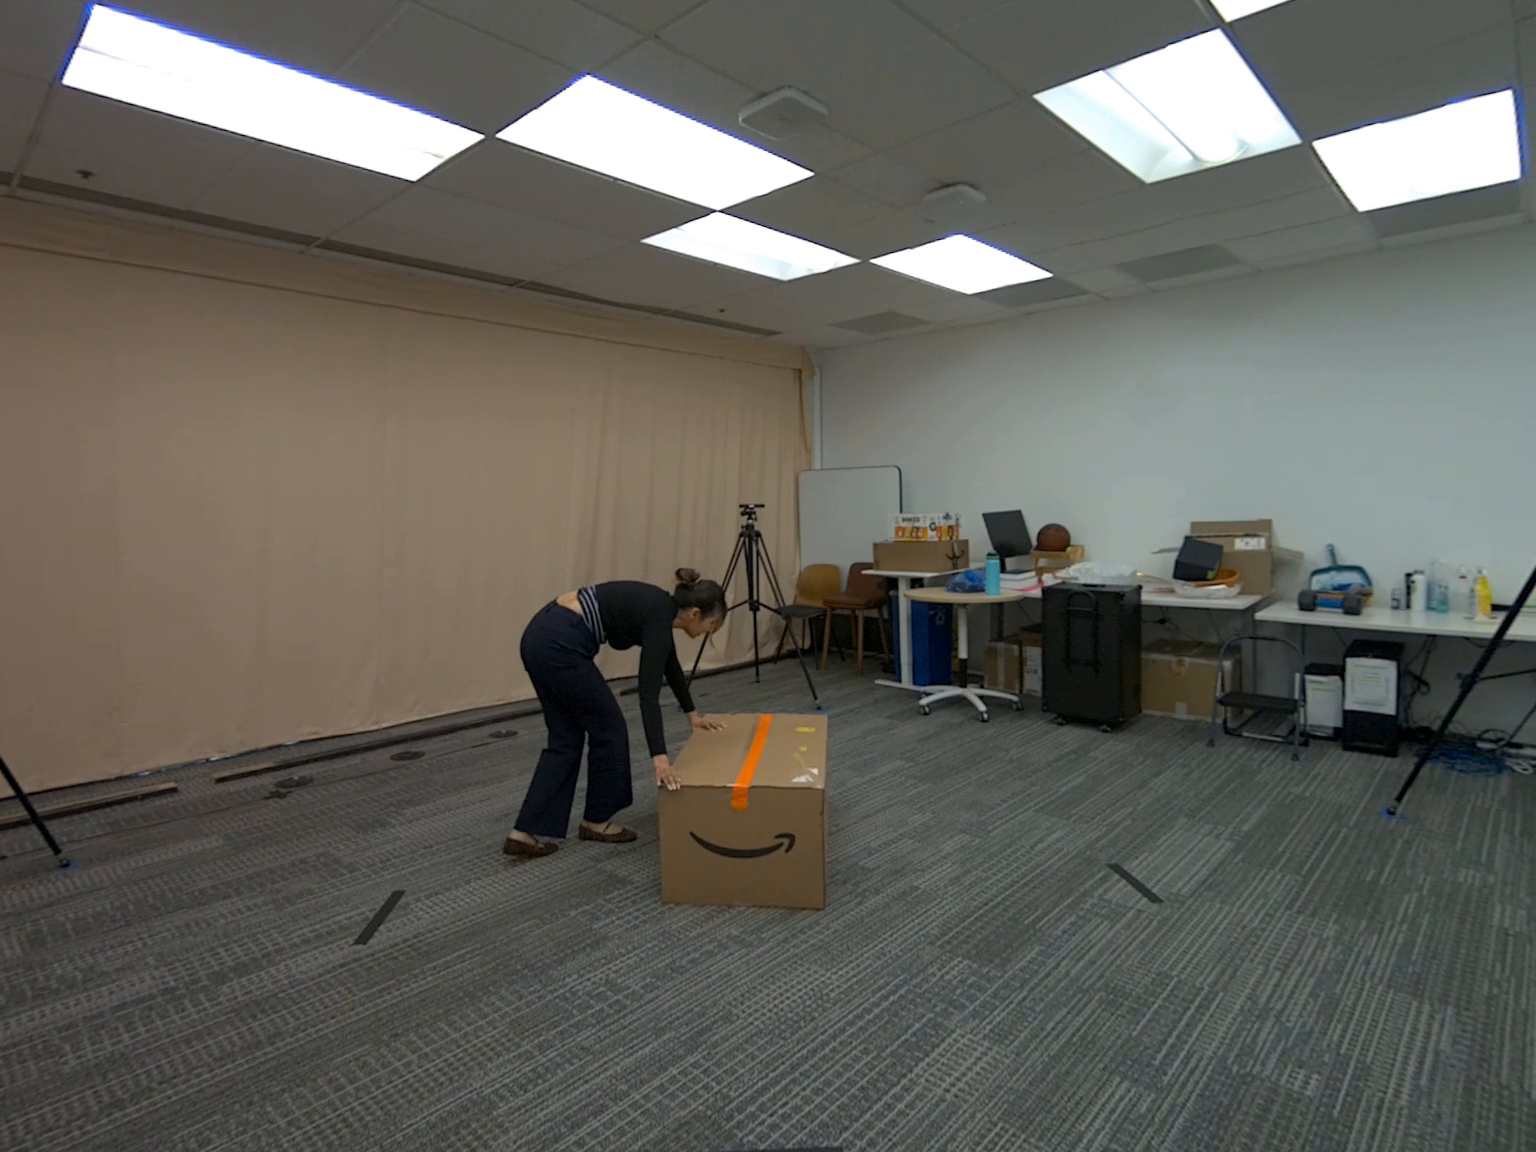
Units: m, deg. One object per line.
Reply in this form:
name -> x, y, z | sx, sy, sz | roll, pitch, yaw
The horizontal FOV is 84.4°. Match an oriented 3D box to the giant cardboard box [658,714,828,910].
giant cardboard box -> -0.047, 0.887, 3.411 | 0.582, 0.425, 1.021 | -2, 4, 5
